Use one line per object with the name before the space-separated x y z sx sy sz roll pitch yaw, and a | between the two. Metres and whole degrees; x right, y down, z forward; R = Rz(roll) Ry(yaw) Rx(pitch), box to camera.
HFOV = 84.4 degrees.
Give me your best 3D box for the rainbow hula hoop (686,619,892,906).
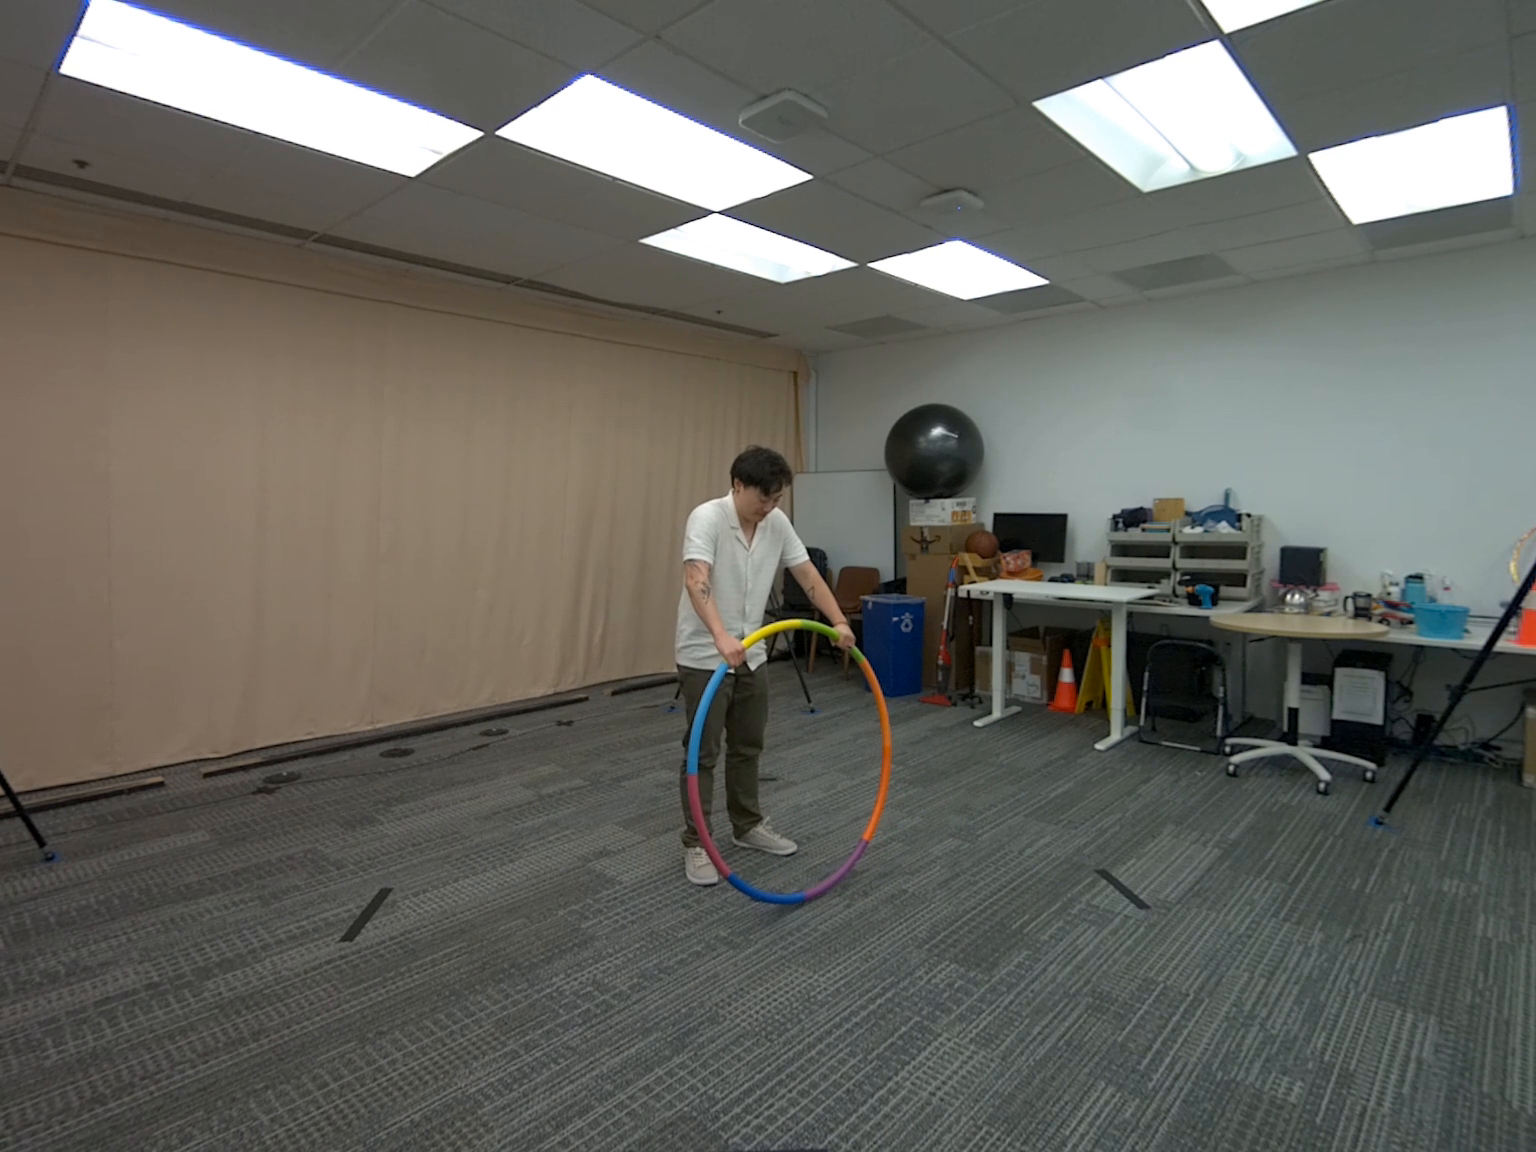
rainbow hula hoop | 0.121 0.651 2.988 0.949 0.980 0.036 -3 -3 -41
